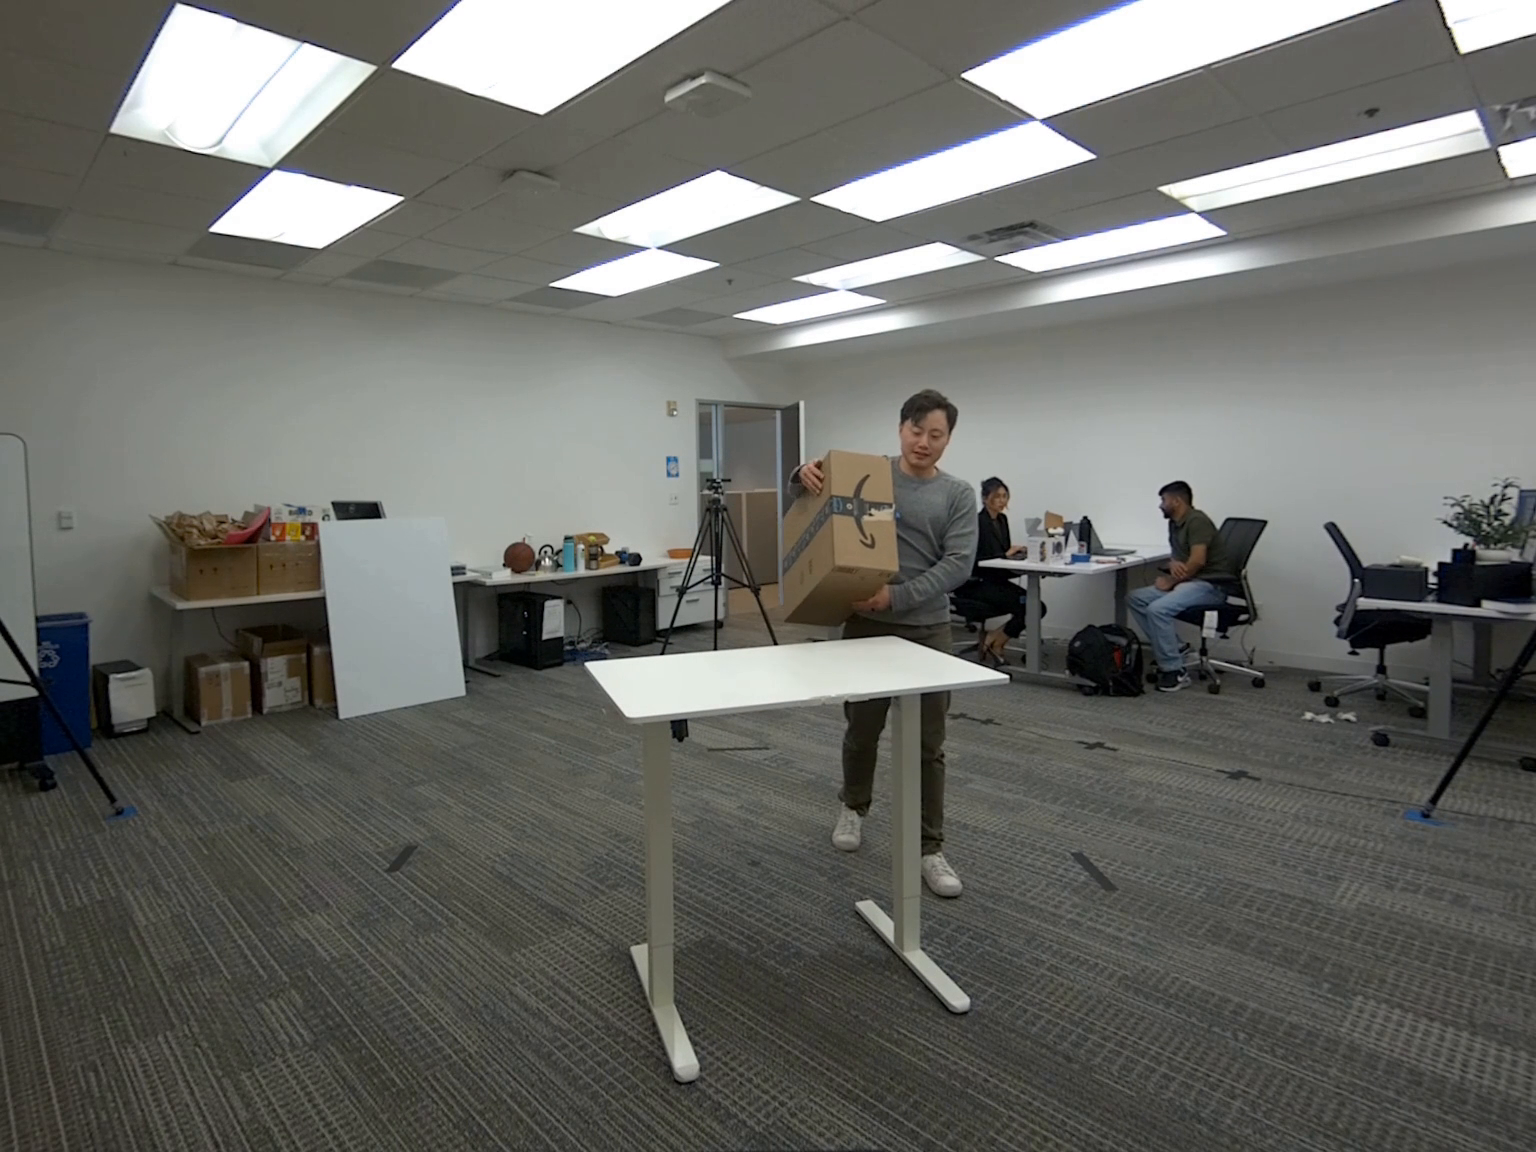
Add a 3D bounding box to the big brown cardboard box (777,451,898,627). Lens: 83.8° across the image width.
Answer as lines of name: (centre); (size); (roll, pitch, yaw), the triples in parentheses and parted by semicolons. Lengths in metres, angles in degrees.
big brown cardboard box: (0.223, -0.109, 2.972); (0.230, 0.425, 0.585); (7, -23, -13)
